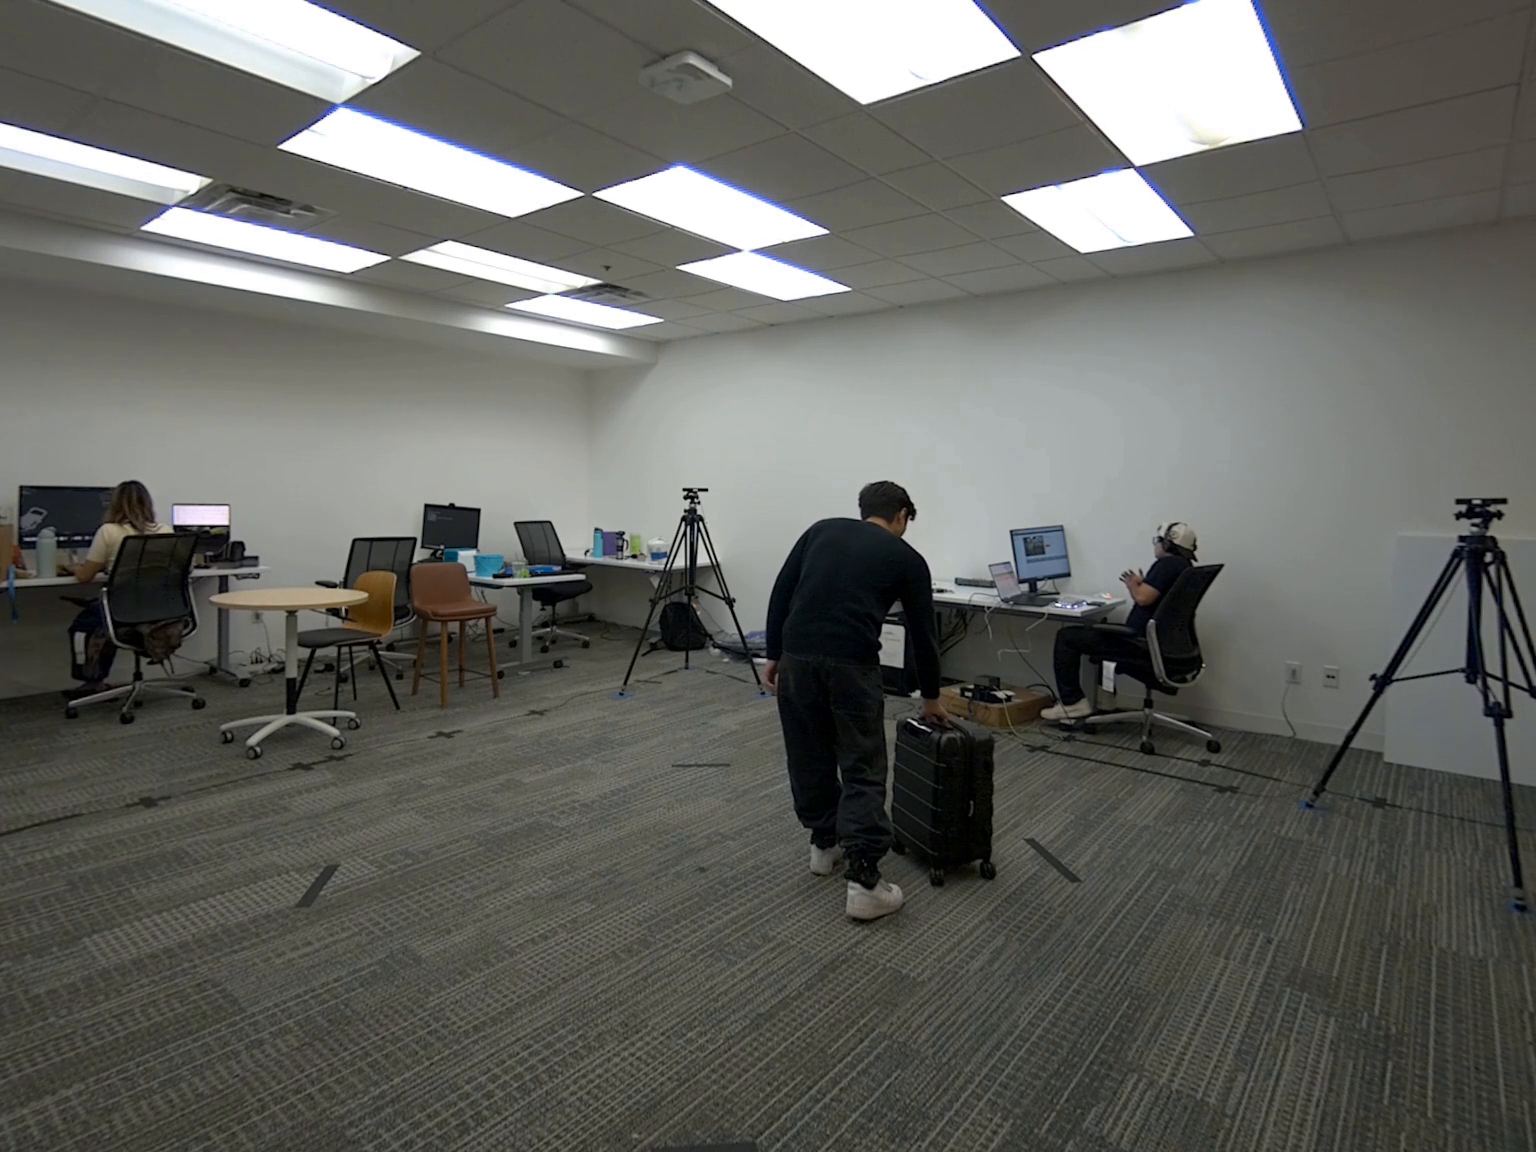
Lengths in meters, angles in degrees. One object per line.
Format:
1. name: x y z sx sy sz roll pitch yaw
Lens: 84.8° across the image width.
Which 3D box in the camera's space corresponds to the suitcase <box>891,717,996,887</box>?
1. suitcase: 0.651 0.802 3.219 0.243 0.548 0.383 0 2 -20
